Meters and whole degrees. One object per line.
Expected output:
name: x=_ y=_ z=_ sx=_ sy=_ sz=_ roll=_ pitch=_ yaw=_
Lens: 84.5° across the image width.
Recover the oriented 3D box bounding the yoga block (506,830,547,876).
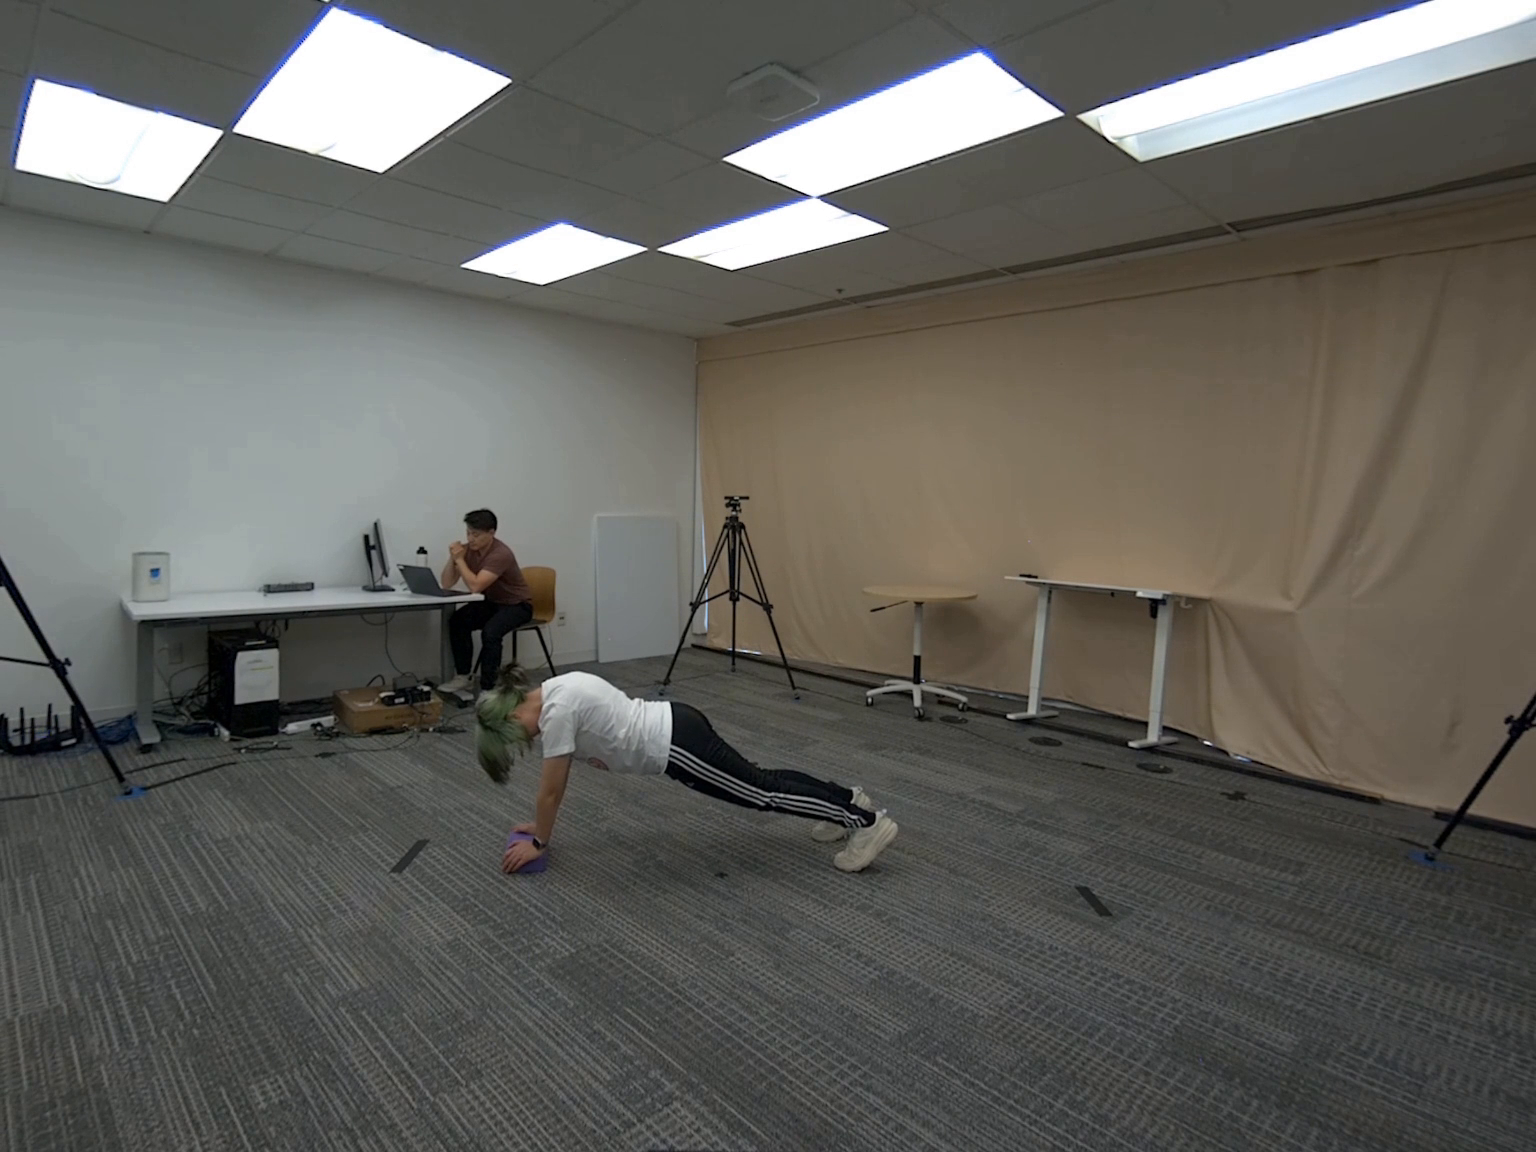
yoga block: x=-0.912 y=1.039 z=3.198 sx=0.148 sy=0.076 sz=0.232 roll=0 pitch=7 yaw=-9
